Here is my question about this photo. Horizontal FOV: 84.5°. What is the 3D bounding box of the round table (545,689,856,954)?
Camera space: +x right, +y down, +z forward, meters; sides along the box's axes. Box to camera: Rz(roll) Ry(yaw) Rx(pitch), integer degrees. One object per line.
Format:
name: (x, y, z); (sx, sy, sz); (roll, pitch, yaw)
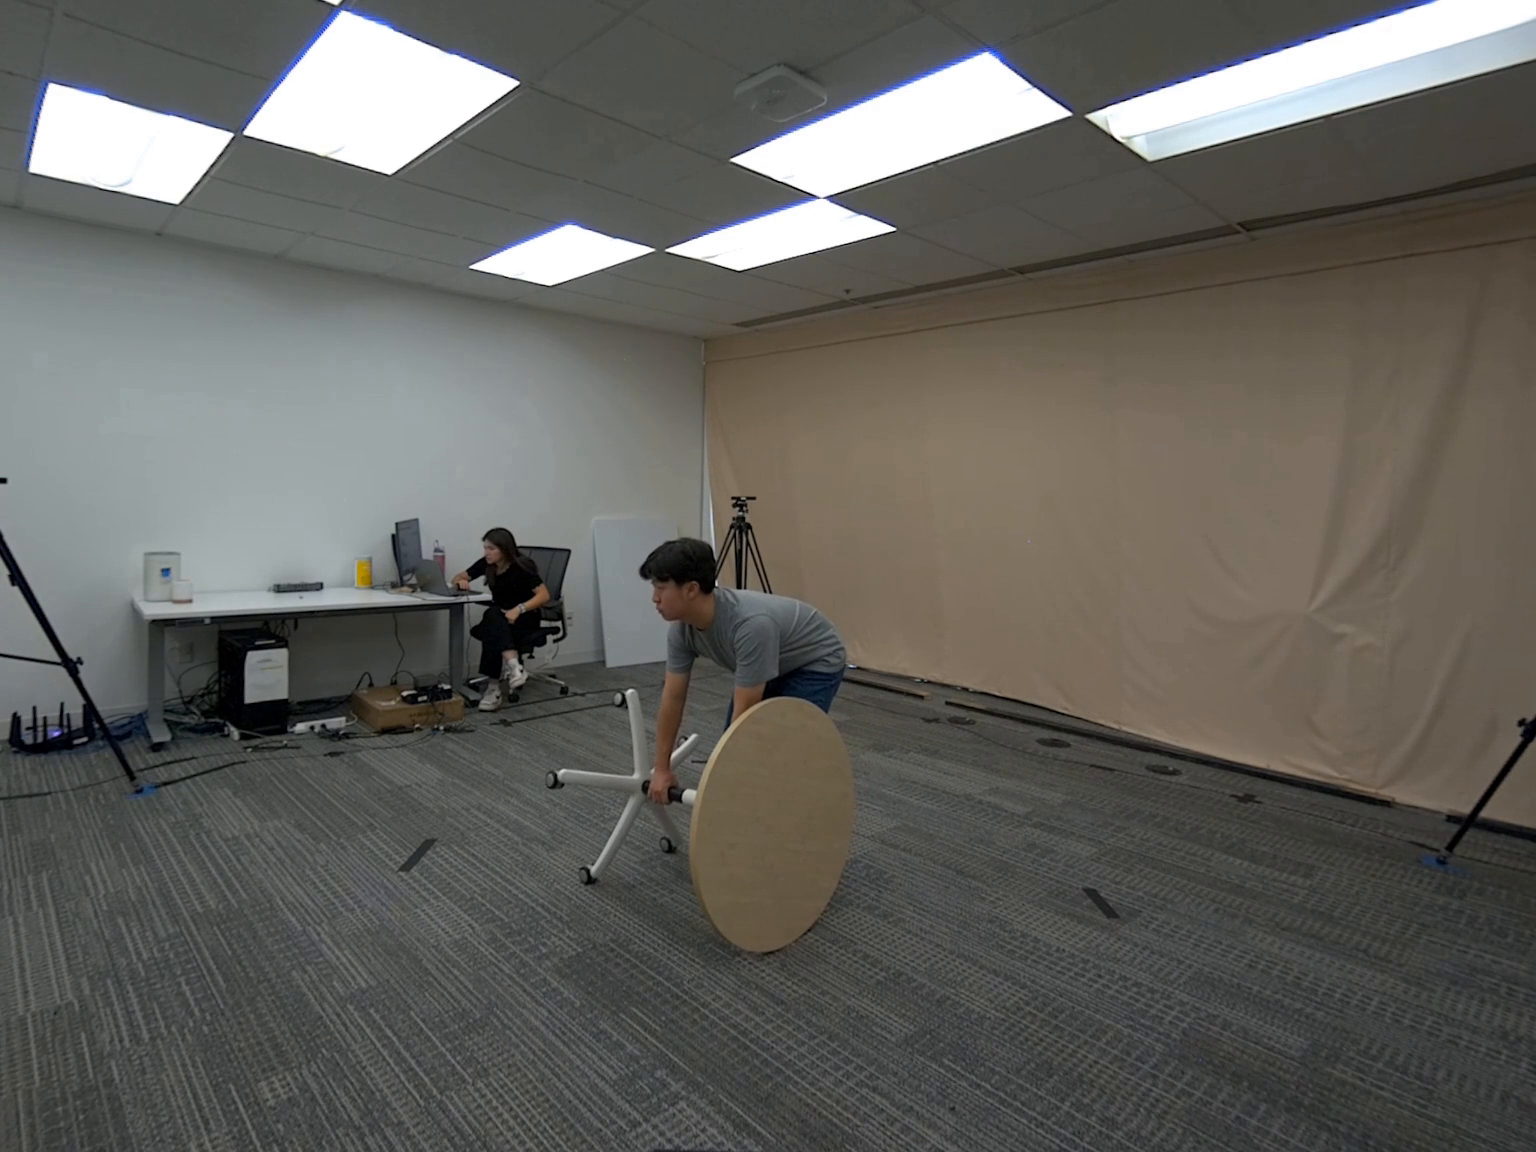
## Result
round table: (-0.260, 0.779, 2.904); (0.812, 0.764, 0.747); (-3, 0, 42)
